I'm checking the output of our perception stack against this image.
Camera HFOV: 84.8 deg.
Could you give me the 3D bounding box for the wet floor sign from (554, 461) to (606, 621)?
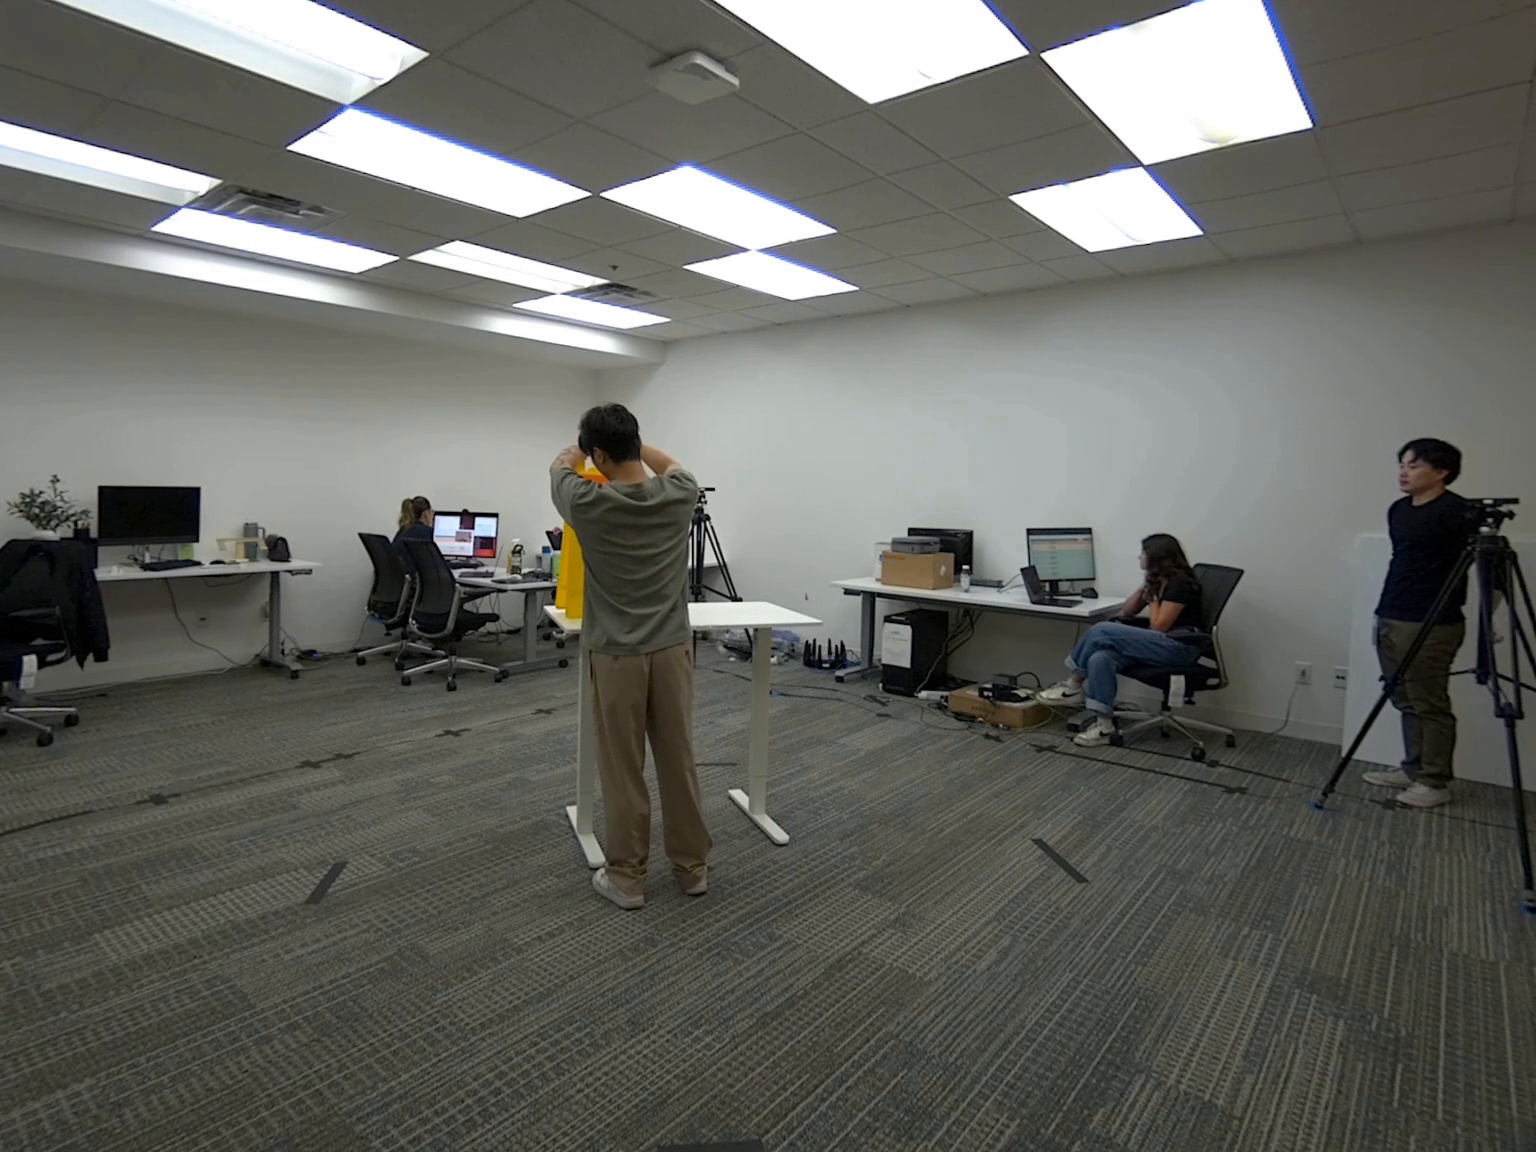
[{"bbox_3d":[-0.668,-0.179,3.291,0.276,0.645,0.297,2,3,-22],"label":"wet floor sign"}]
